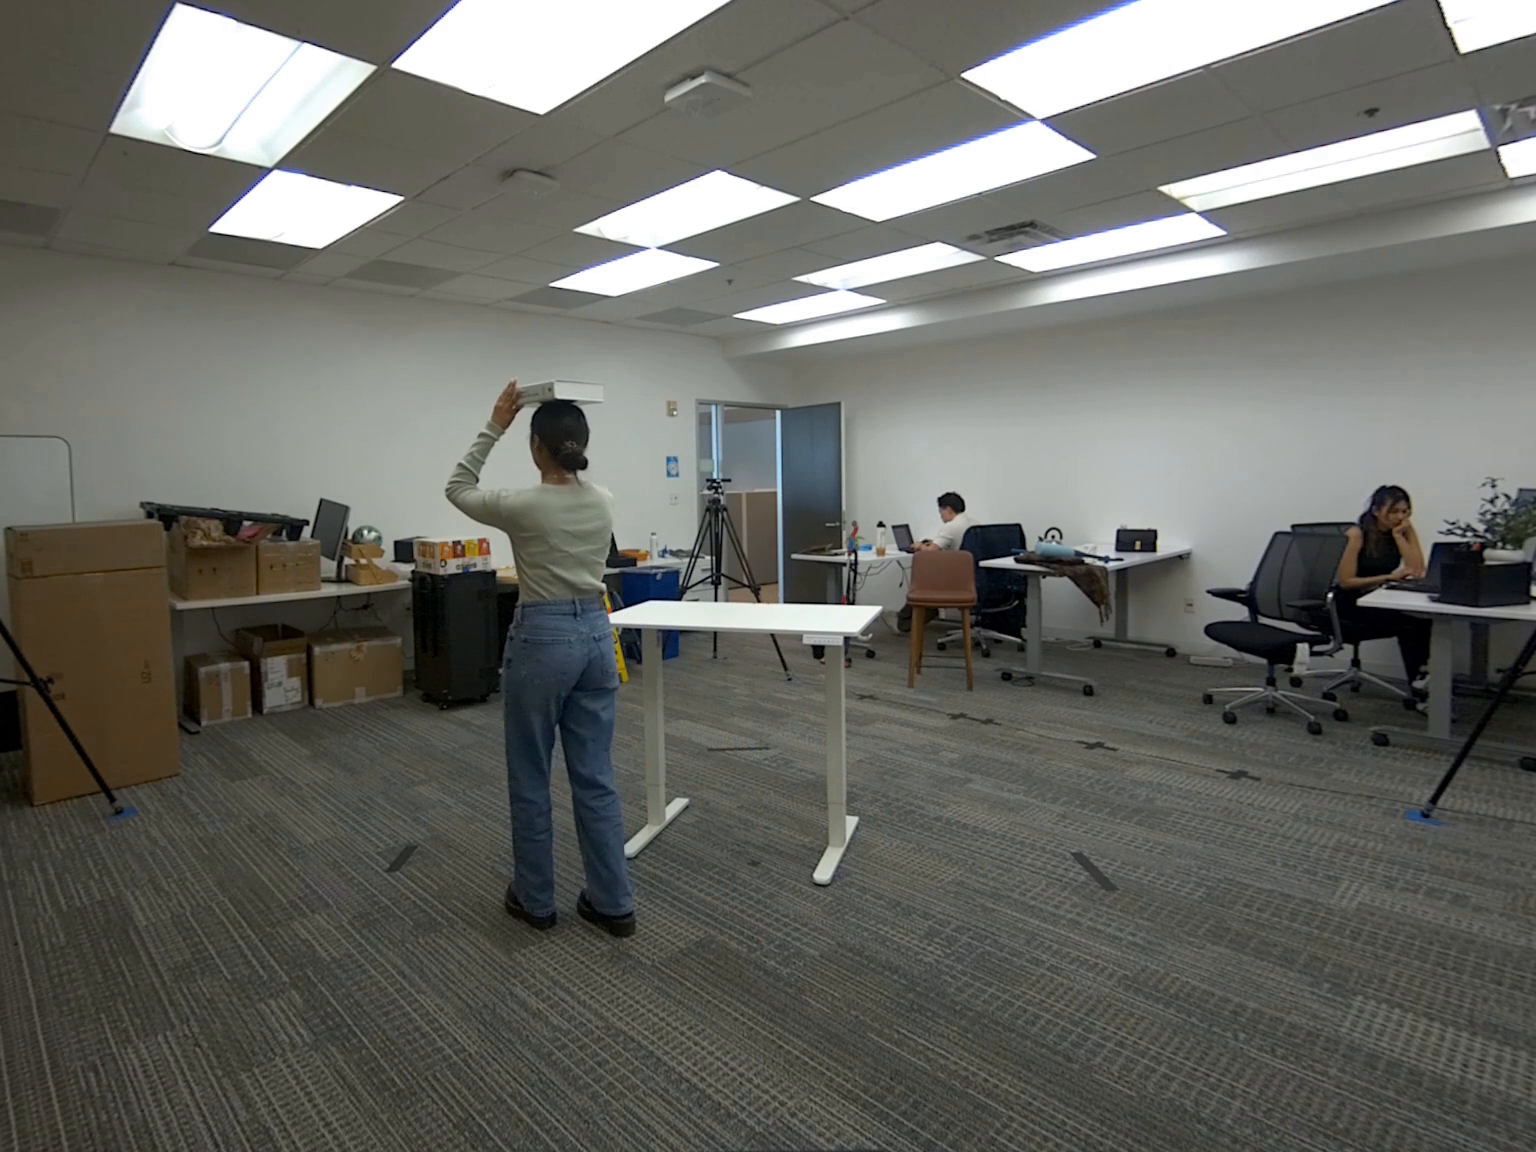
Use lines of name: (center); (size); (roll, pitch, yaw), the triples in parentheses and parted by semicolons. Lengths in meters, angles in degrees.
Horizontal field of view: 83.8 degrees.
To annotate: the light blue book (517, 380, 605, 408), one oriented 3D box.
light blue book: (-0.660, -0.566, 2.655); (0.186, 0.059, 0.269); (-7, 9, -43)
